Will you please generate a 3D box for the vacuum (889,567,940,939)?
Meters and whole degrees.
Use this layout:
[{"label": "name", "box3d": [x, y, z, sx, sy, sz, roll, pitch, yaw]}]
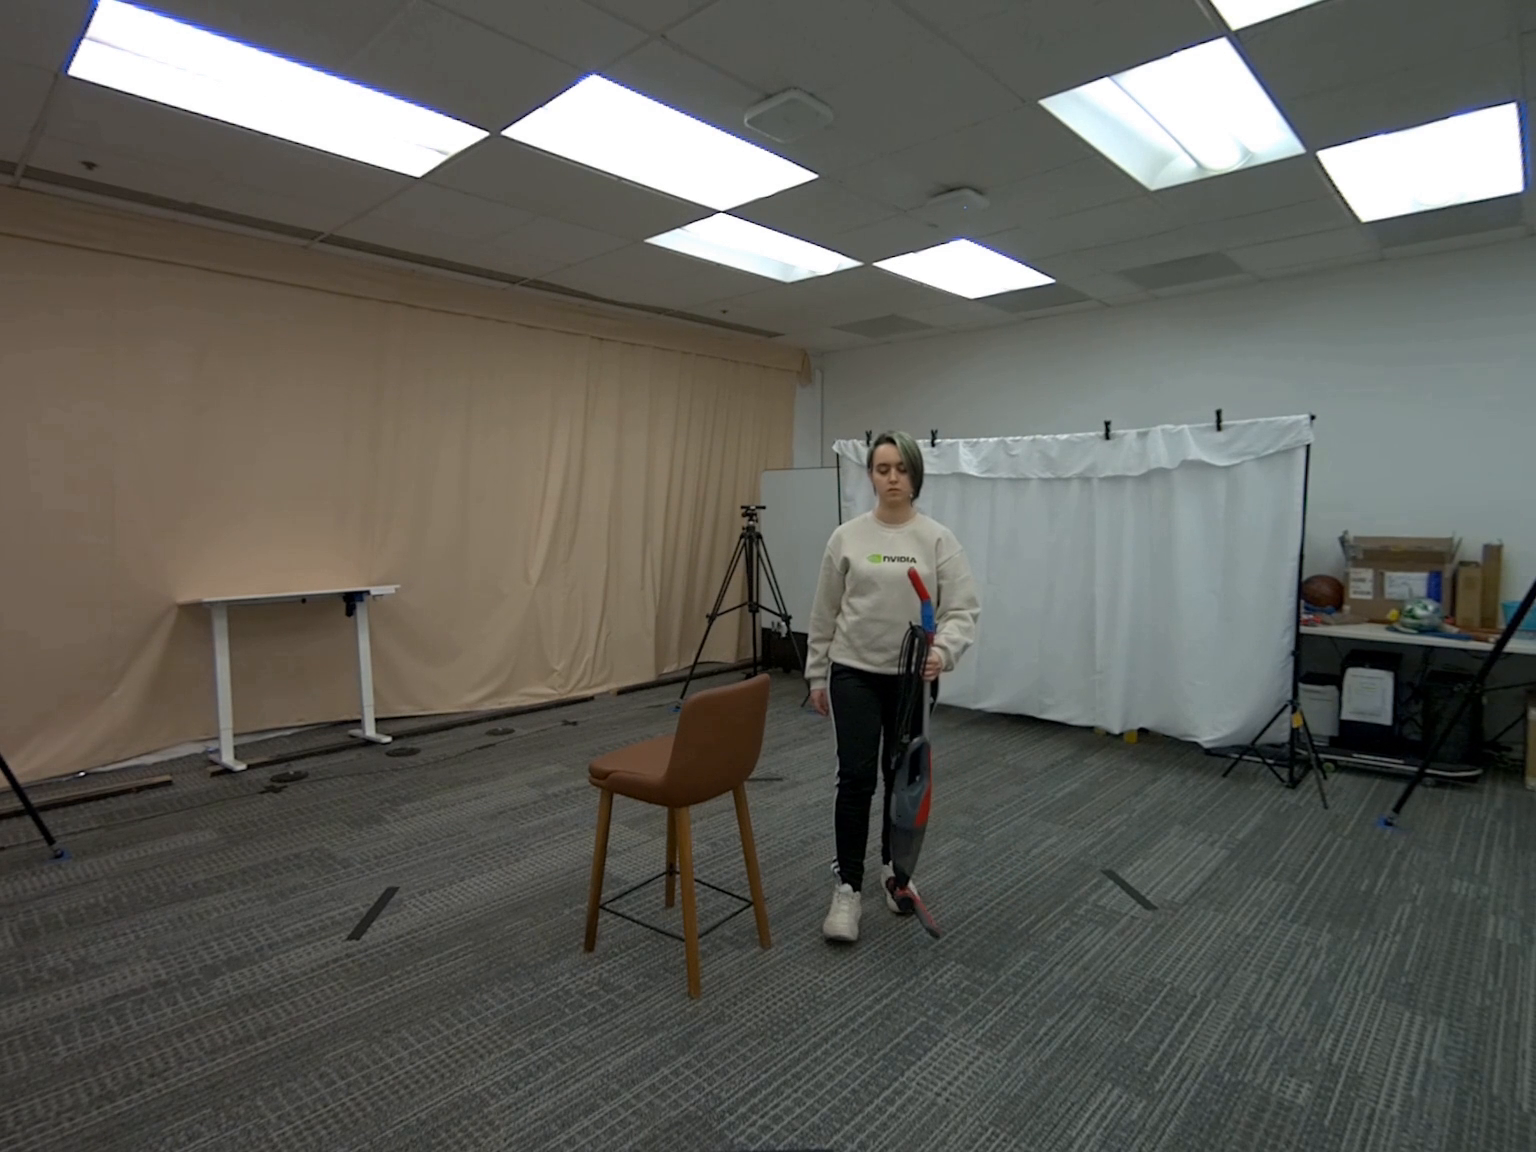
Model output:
[{"label": "vacuum", "box3d": [0.443, 0.515, 2.568, 0.141, 1.045, 0.258, -3, 7, -19]}]
